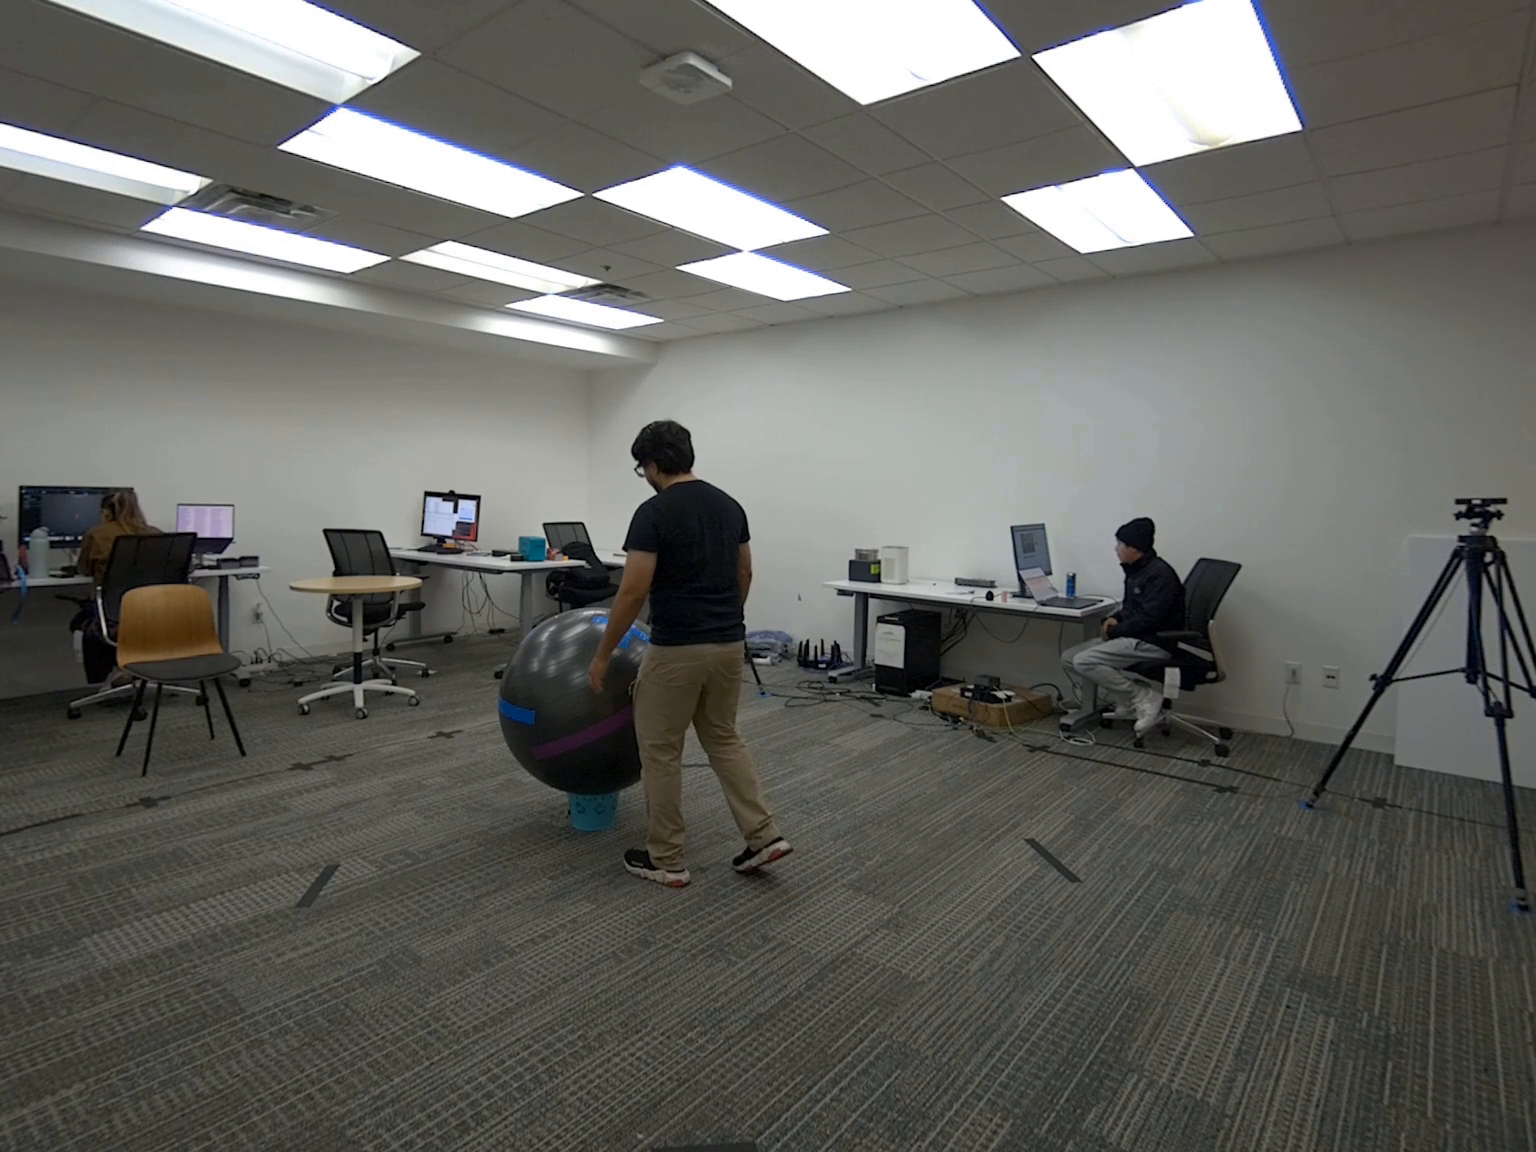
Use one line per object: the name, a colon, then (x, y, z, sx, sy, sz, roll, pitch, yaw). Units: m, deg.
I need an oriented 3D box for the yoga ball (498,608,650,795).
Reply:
yoga ball: (-0.750, 0.519, 3.514, 0.757, 0.756, 0.761, 1, 4, -2)
